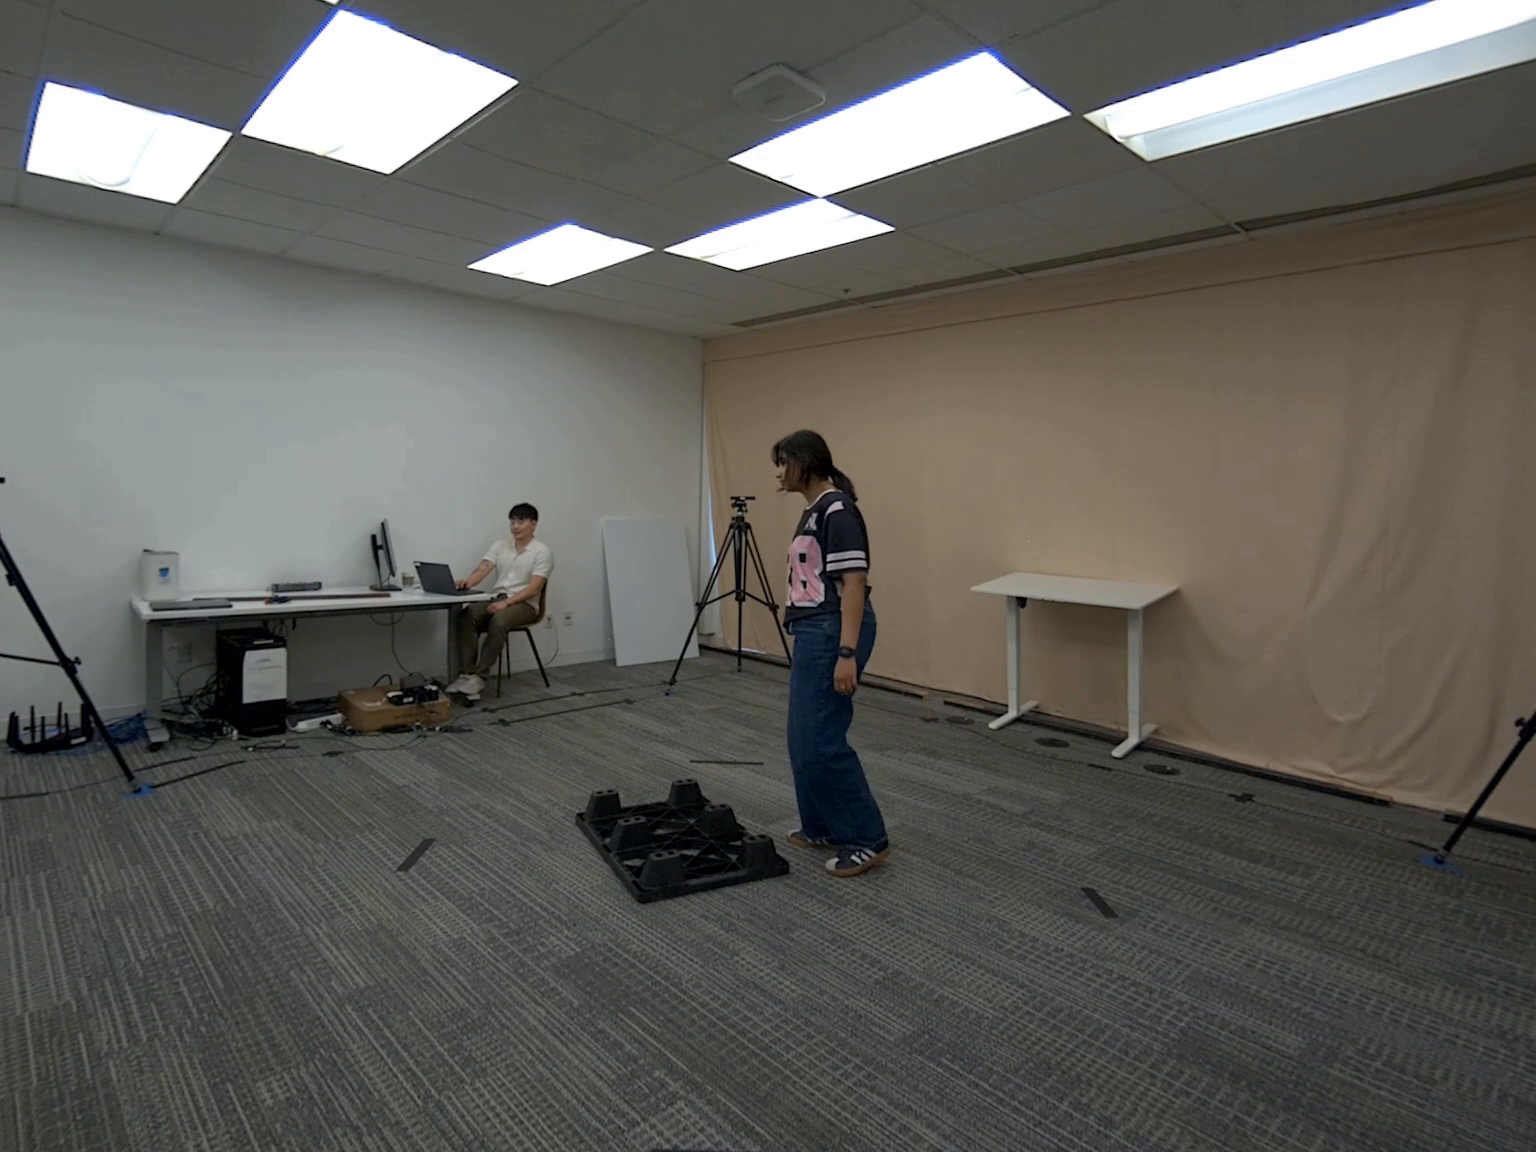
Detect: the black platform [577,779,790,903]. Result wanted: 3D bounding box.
[{"bbox_3d":[-0.366,1.013,3.342,0.593,0.143,0.824,-2,6,-28],"label":"black platform"}]
